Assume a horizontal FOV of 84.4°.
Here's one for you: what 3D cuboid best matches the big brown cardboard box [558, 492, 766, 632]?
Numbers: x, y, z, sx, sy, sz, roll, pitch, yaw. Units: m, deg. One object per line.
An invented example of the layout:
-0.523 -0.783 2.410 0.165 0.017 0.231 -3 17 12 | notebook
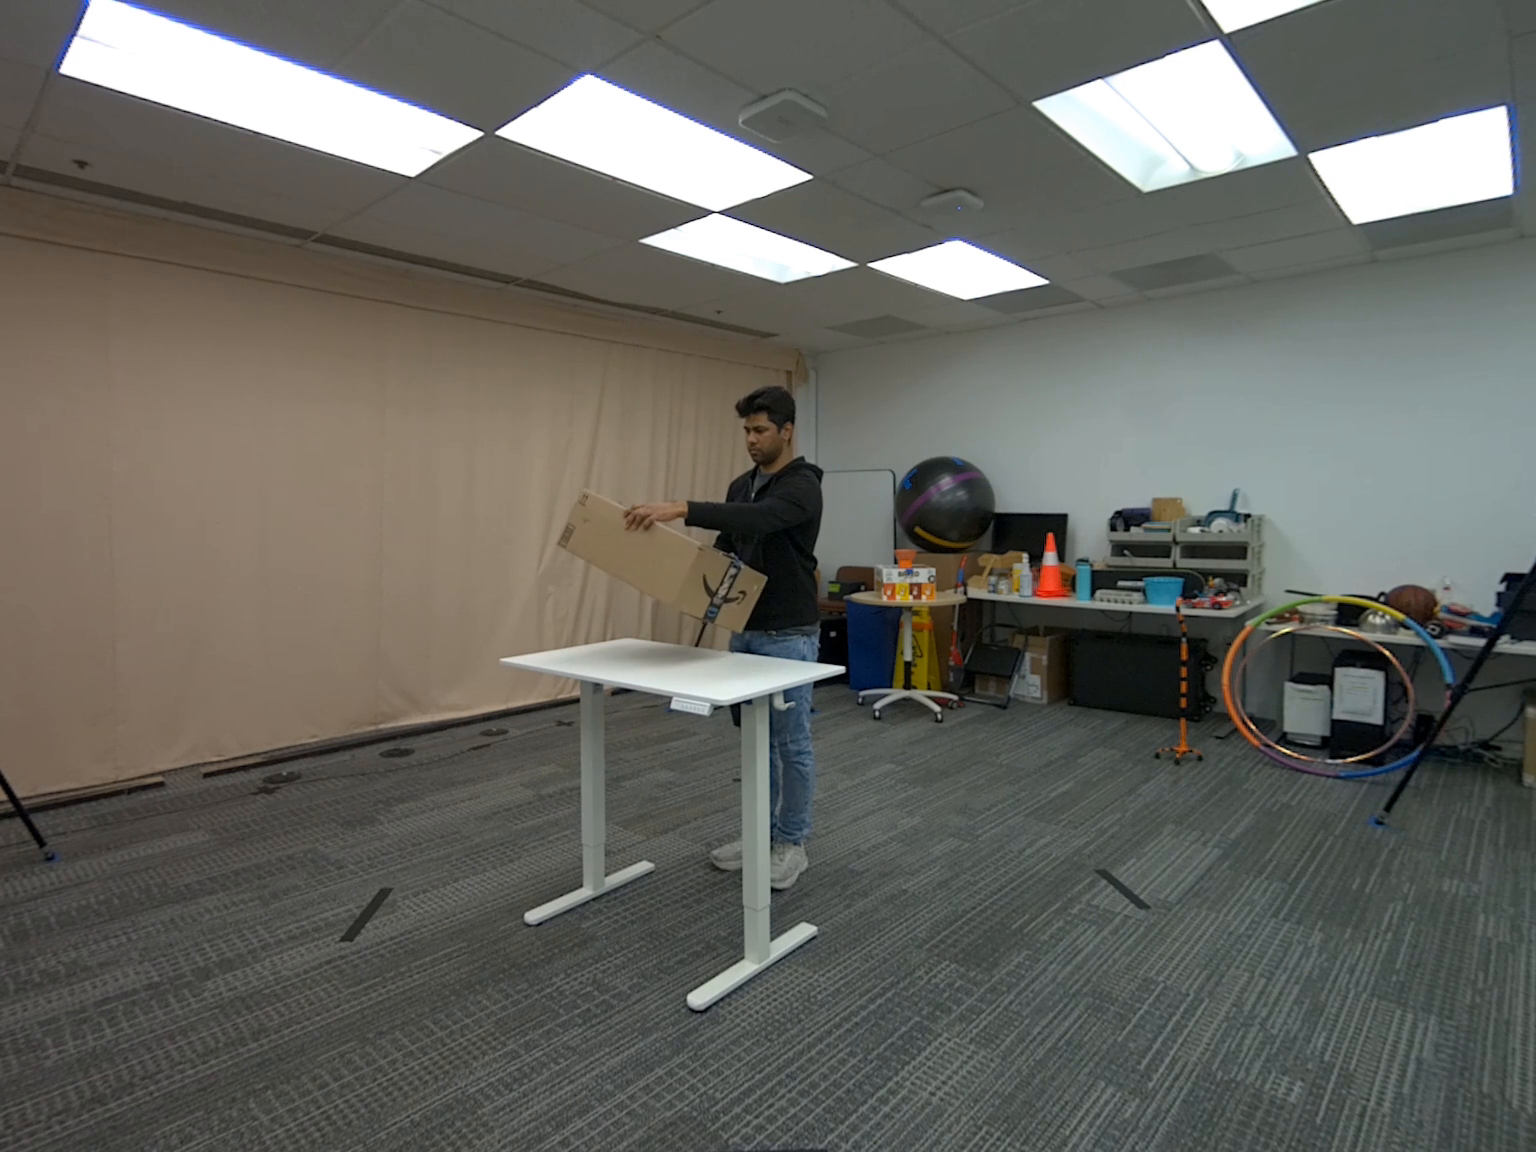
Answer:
-0.354 -0.049 2.870 0.610 0.233 0.403 25 0 35 | big brown cardboard box
